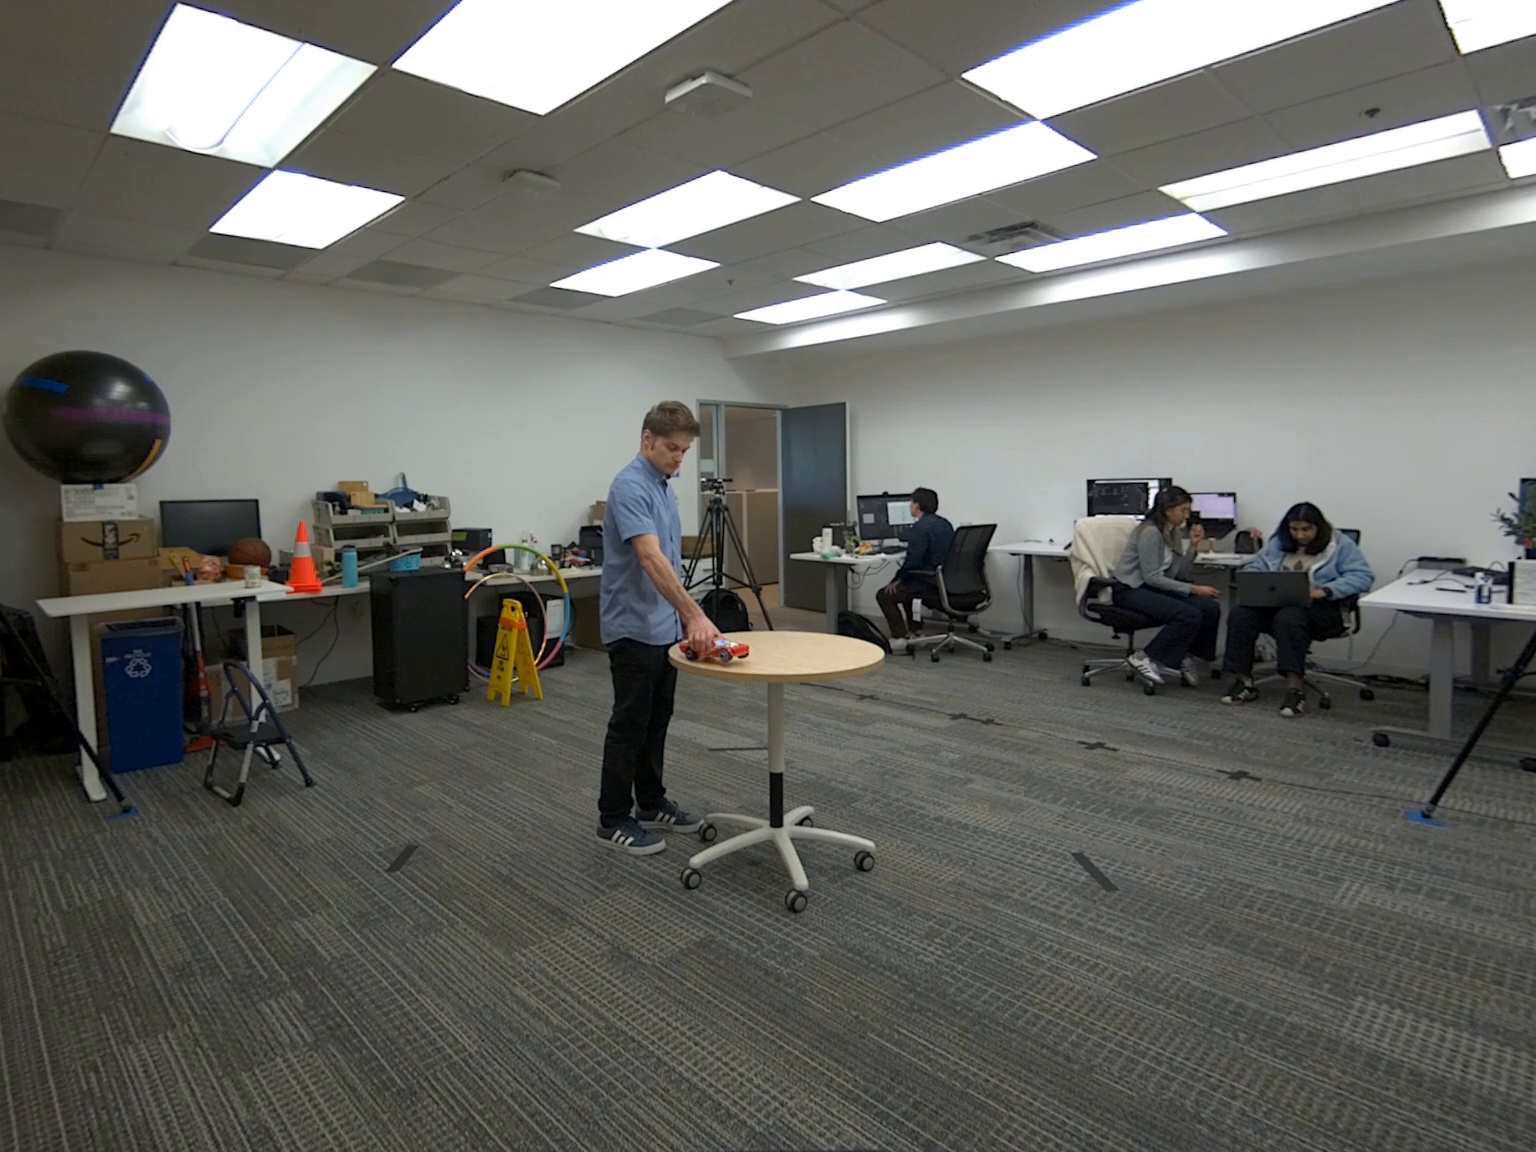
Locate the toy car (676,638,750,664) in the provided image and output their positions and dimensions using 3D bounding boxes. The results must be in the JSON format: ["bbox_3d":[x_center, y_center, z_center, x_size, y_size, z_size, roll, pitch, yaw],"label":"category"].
[{"bbox_3d":[-0.187,0.248,2.876,0.263,0.083,0.127,10,9,37],"label":"toy car"}]
